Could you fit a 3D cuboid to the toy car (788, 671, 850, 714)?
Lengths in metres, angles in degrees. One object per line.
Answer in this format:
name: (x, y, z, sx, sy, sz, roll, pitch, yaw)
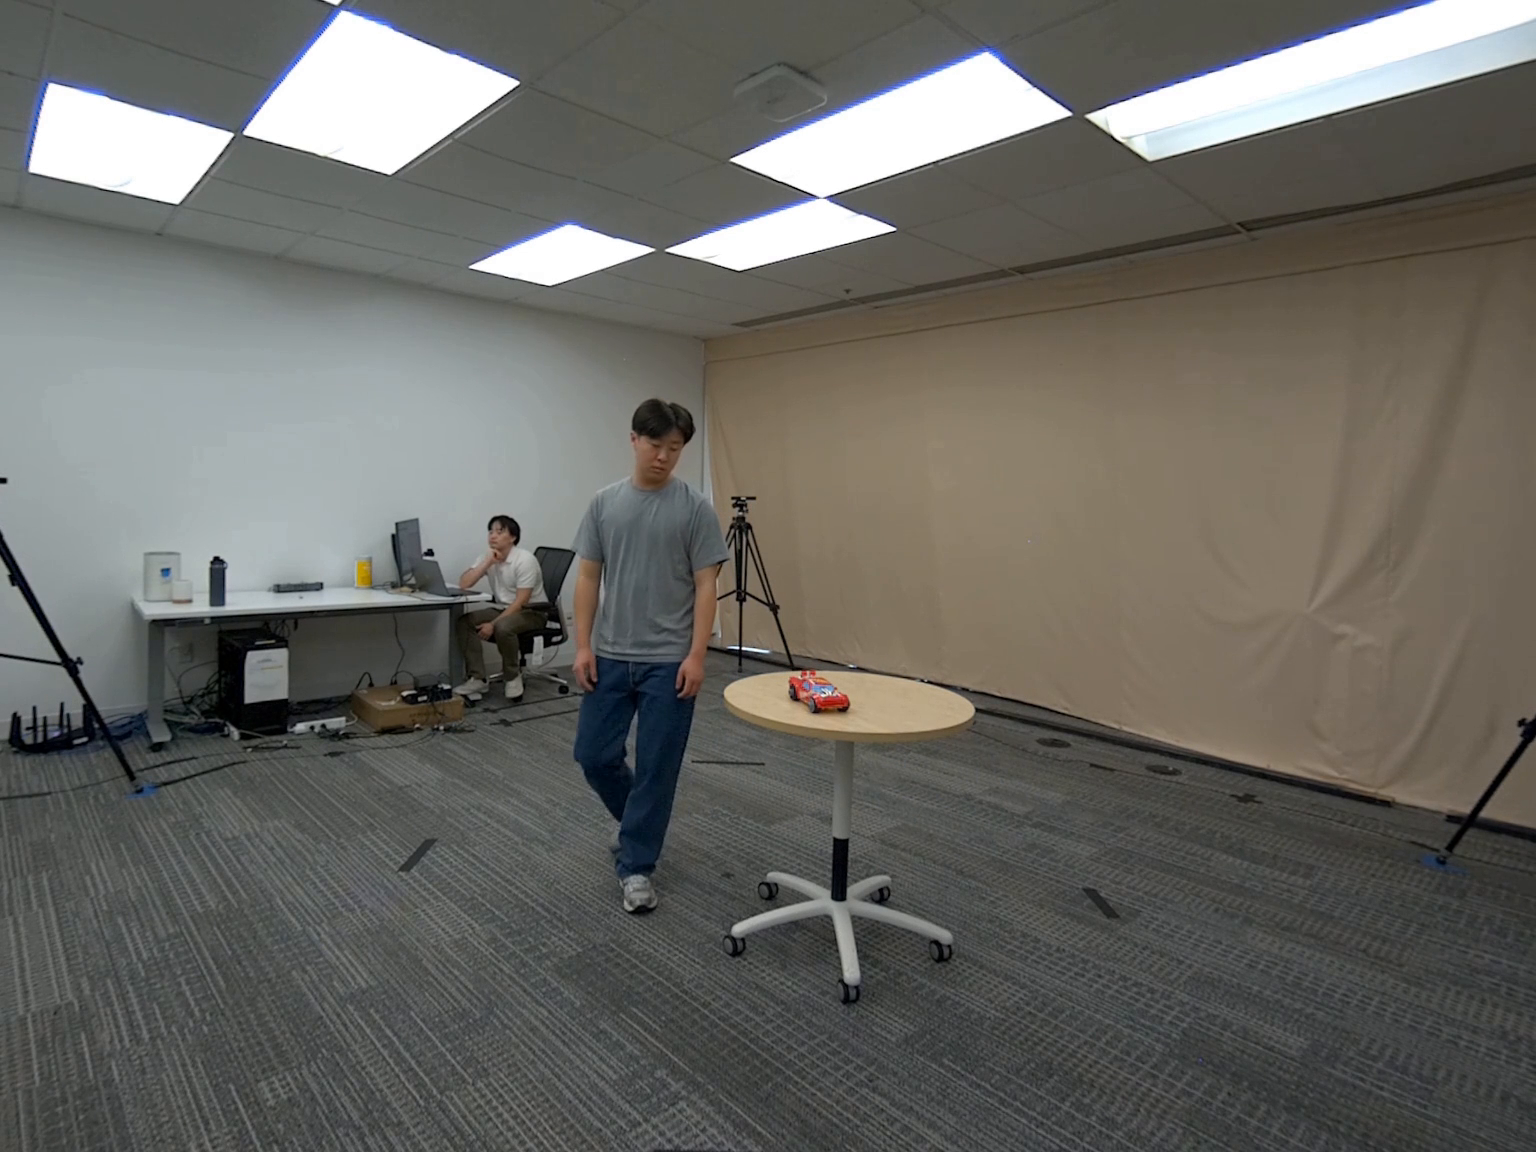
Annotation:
toy car: (0.144, 0.354, 2.504, 0.128, 0.082, 0.261, -1, 17, -19)
